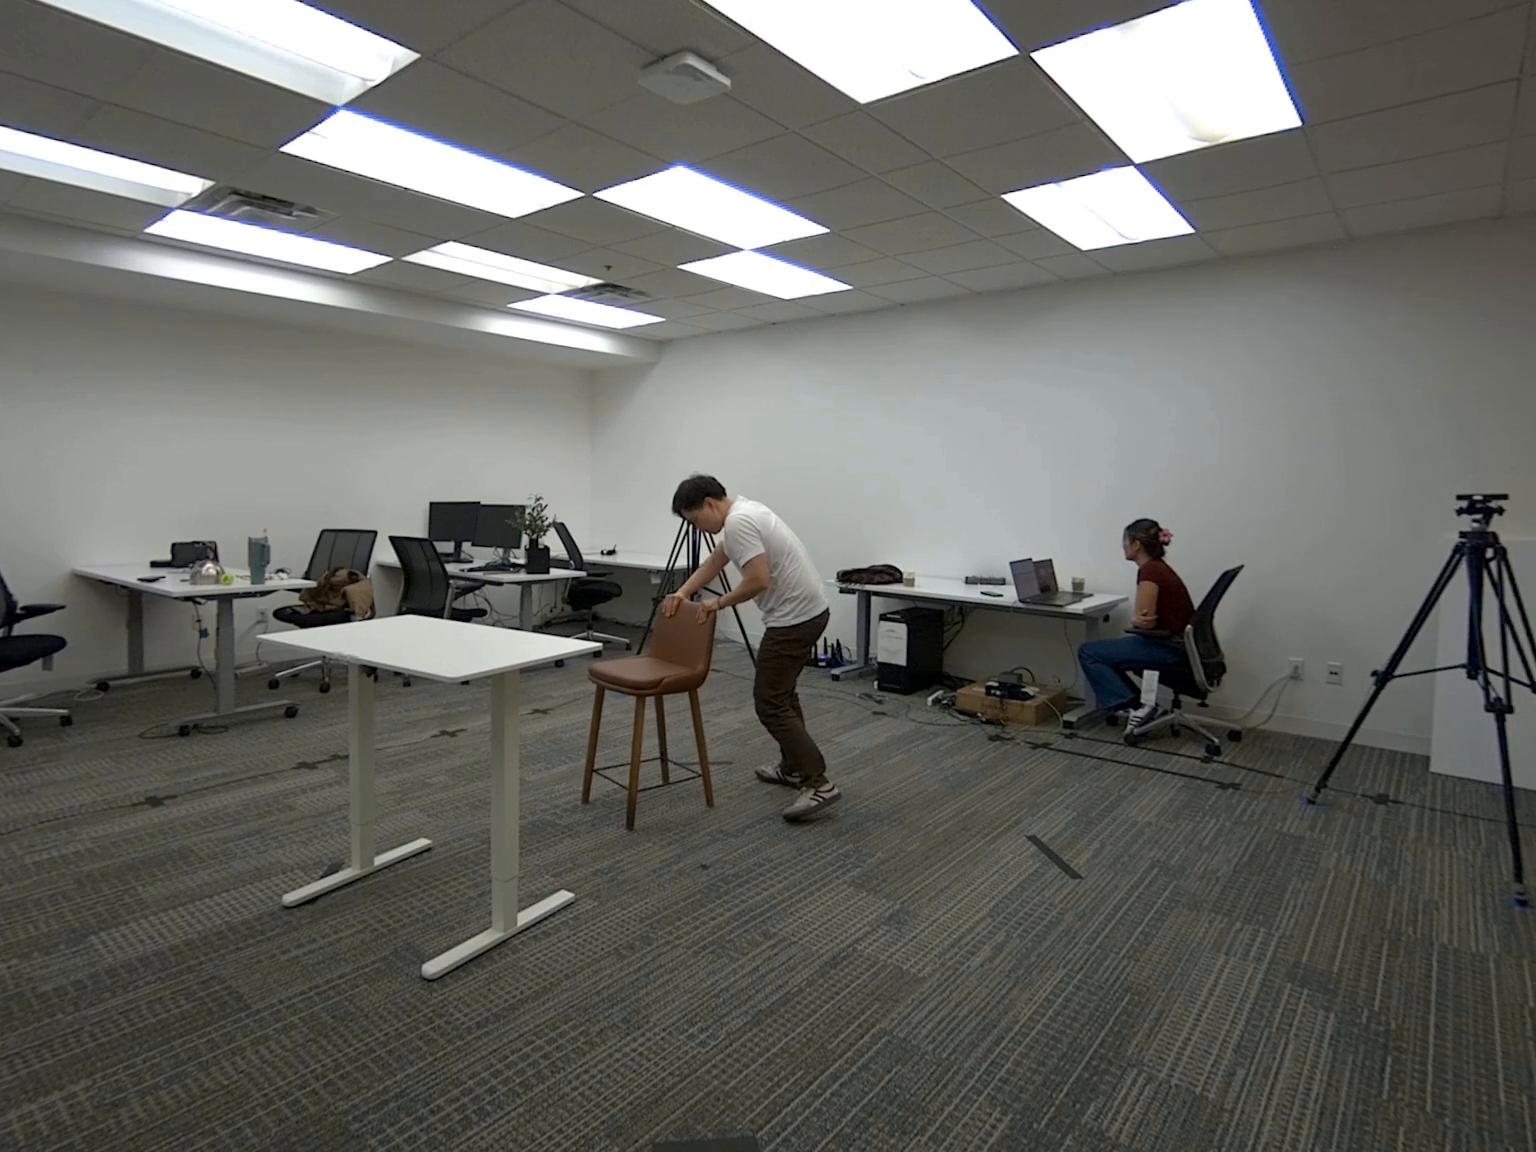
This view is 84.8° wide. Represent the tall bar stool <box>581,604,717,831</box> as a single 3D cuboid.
[{"bbox_3d":[-0.523,0.562,3.710,0.453,0.889,0.472,1,2,-39],"label":"tall bar stool"}]
